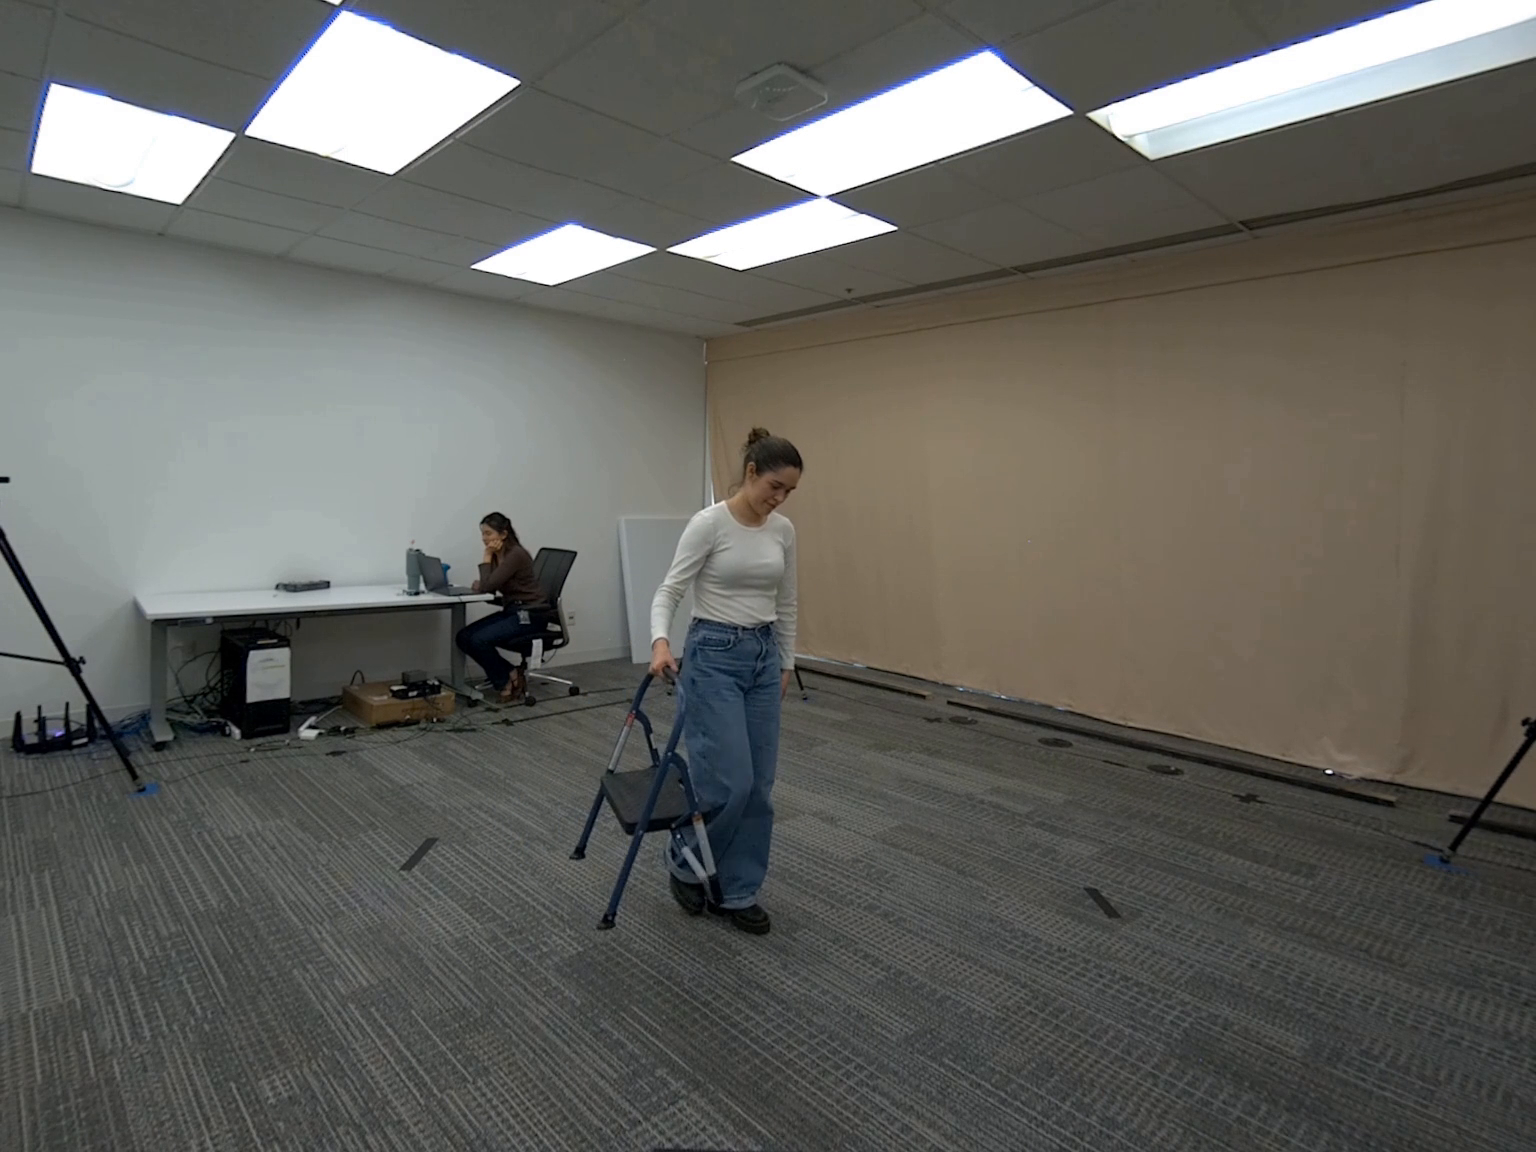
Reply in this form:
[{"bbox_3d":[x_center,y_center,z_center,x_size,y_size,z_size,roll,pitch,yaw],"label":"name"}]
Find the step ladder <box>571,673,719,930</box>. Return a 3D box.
[{"bbox_3d":[-0.358,0.585,2.371,0.344,0.603,0.440,-2,8,-22],"label":"step ladder"}]
